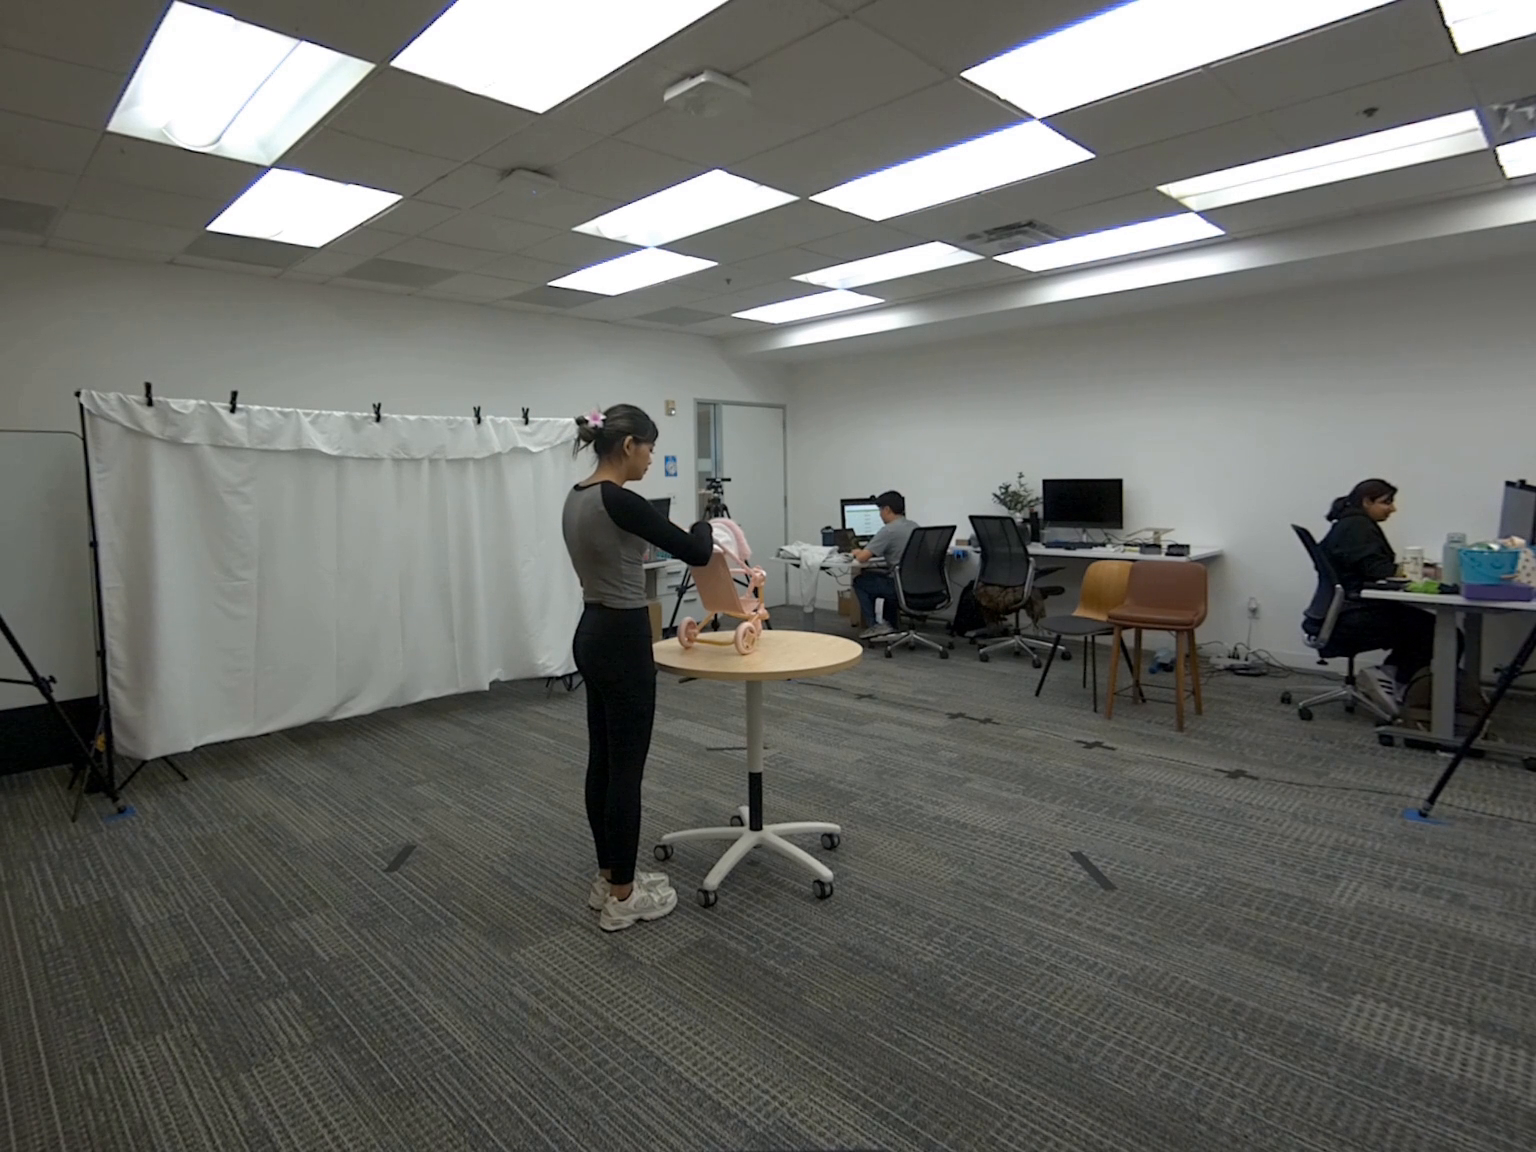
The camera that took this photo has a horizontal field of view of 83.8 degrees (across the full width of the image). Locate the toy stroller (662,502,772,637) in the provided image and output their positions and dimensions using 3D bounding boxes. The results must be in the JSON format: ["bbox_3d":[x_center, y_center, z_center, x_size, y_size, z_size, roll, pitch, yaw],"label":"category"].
[{"bbox_3d":[-0.148,0.032,3.036,0.290,0.526,0.337,3,20,38],"label":"toy stroller"}]
